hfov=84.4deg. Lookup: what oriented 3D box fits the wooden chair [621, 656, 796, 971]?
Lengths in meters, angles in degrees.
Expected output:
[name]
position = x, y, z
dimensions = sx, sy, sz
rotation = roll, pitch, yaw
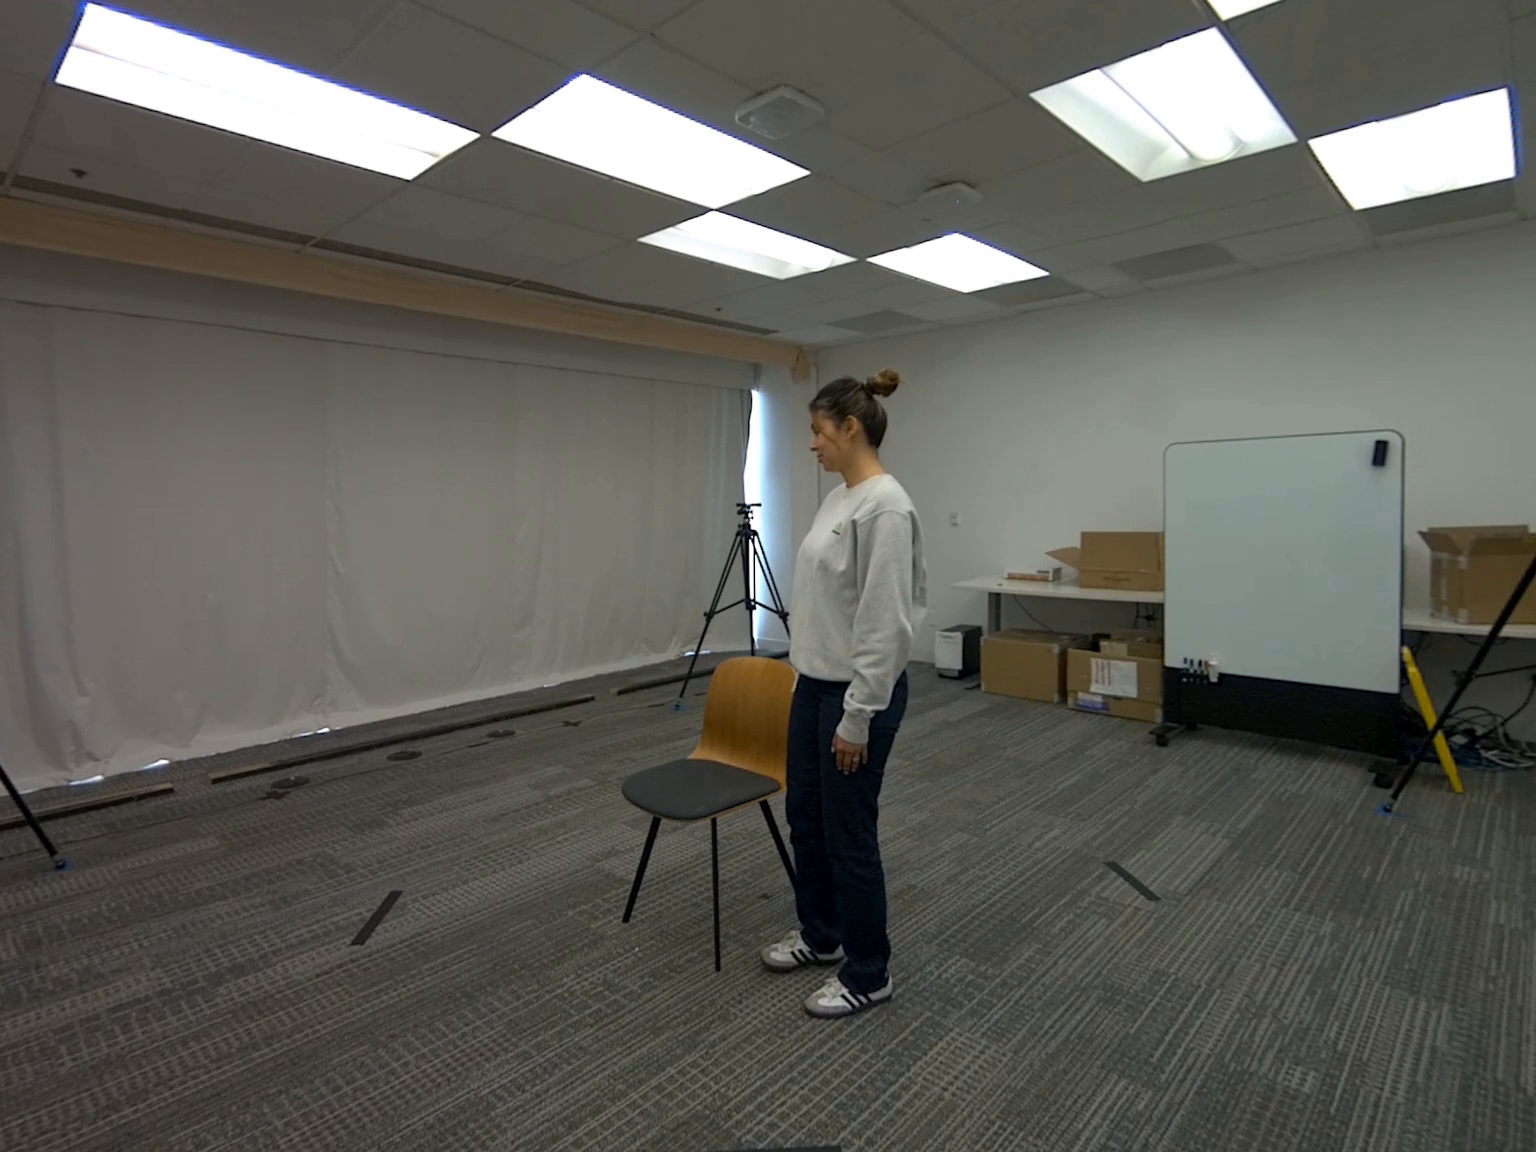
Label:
[wooden chair]
position = -0.180, 0.729, 2.791
dimensions = 0.494, 0.877, 0.506
rotation = 2, 1, 43
